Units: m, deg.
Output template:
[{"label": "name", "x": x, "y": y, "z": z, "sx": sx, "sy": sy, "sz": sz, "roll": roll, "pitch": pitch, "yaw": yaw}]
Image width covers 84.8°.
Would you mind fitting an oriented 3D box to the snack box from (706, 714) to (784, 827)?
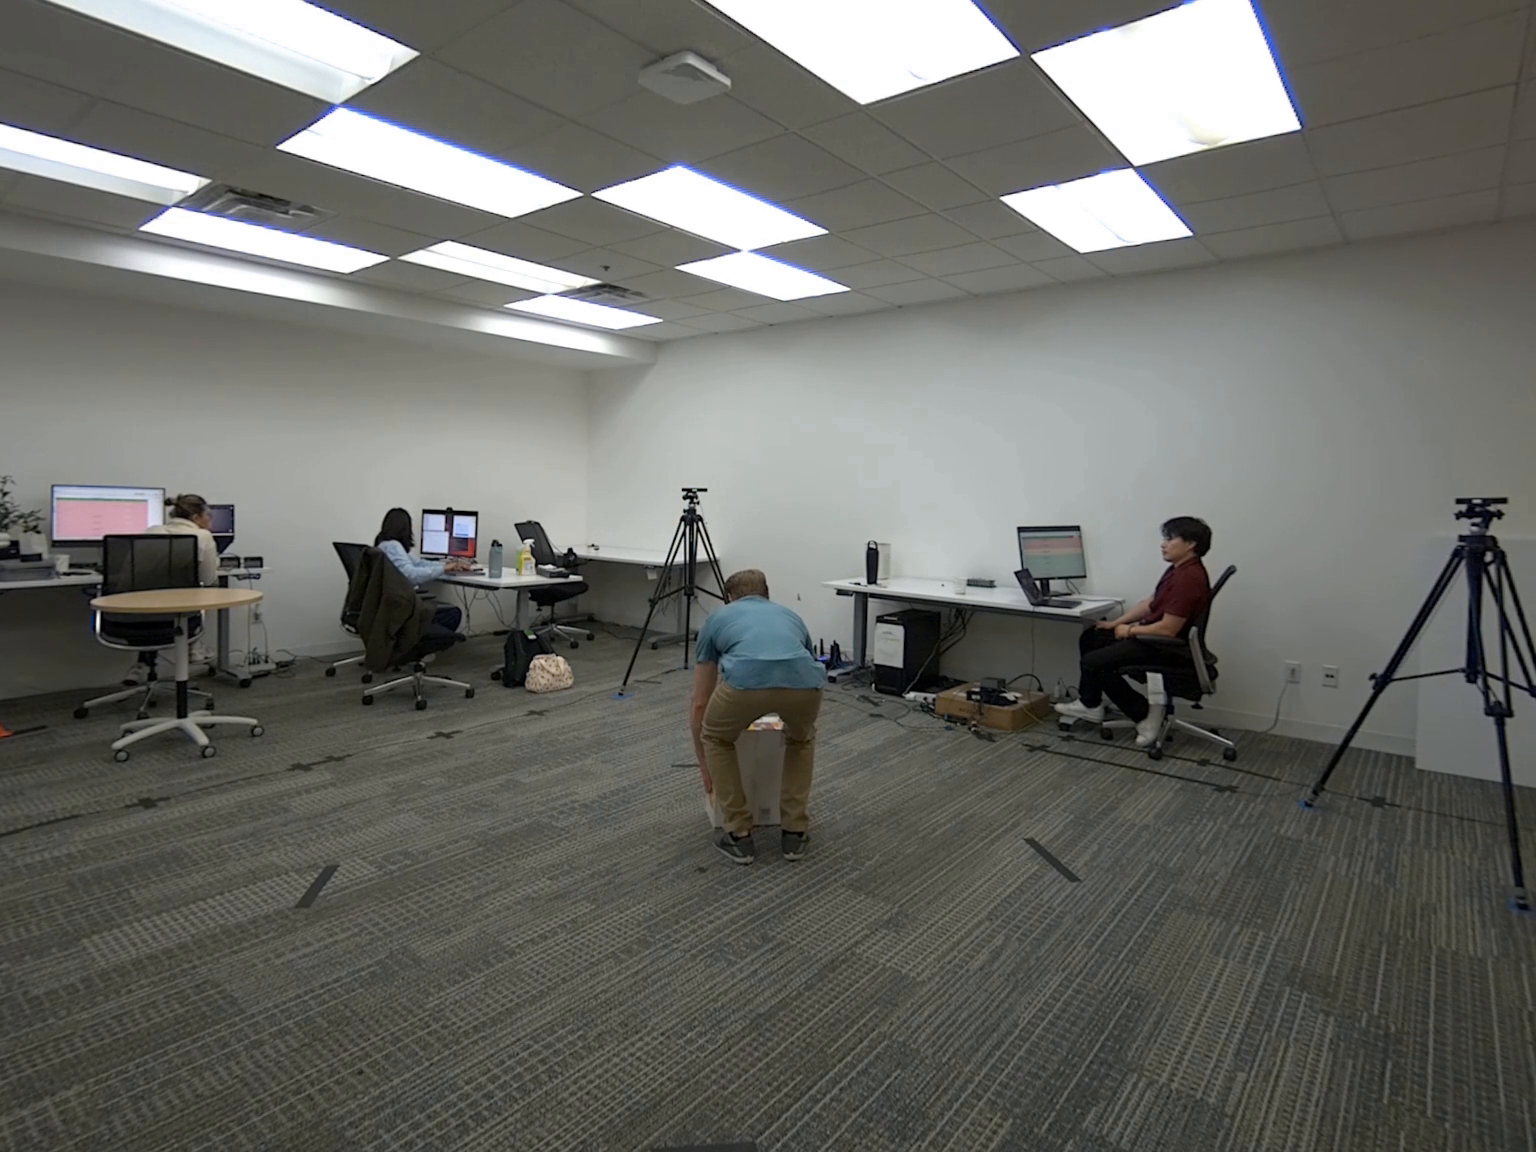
[{"label": "snack box", "x": -0.087, "y": 0.822, "z": 3.598, "sx": 0.336, "sy": 0.404, "sz": 0.209, "roll": 1, "pitch": 3, "yaw": -12}]
